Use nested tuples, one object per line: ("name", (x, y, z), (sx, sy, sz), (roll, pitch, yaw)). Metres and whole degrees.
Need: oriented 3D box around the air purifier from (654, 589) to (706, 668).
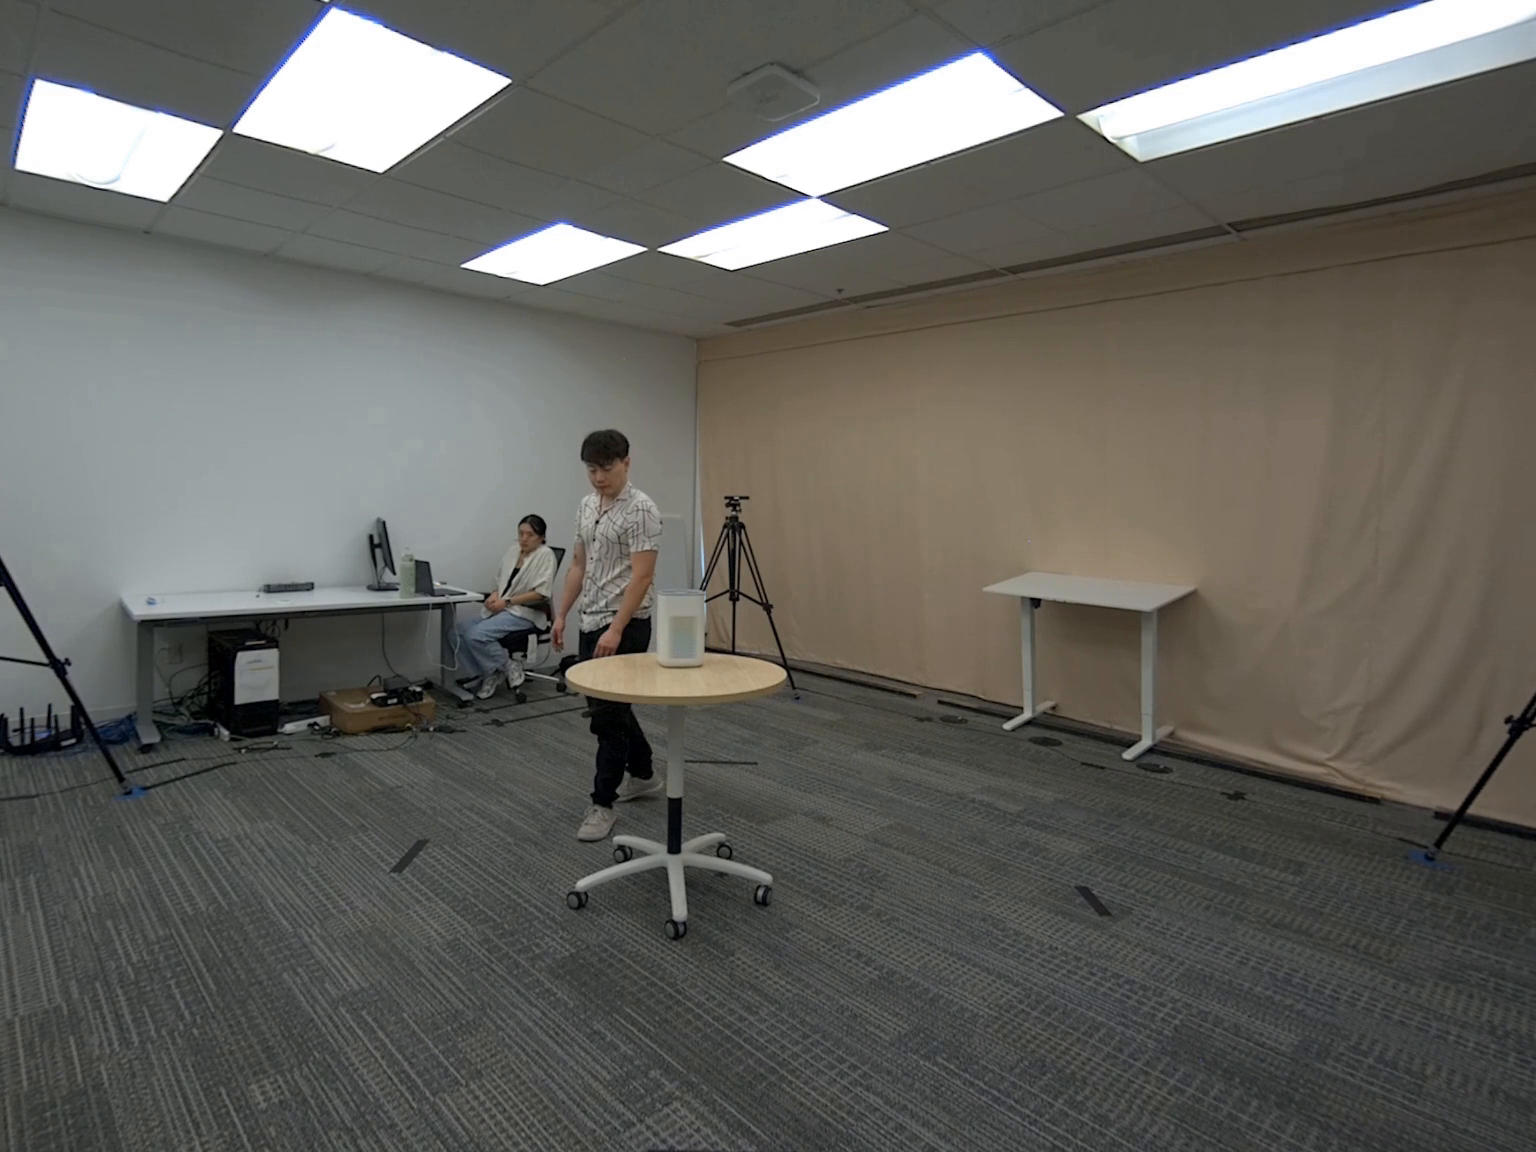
("air purifier", (-0.326, 0.192, 3.059), (0.170, 0.265, 0.173), (0, 1, -11))
